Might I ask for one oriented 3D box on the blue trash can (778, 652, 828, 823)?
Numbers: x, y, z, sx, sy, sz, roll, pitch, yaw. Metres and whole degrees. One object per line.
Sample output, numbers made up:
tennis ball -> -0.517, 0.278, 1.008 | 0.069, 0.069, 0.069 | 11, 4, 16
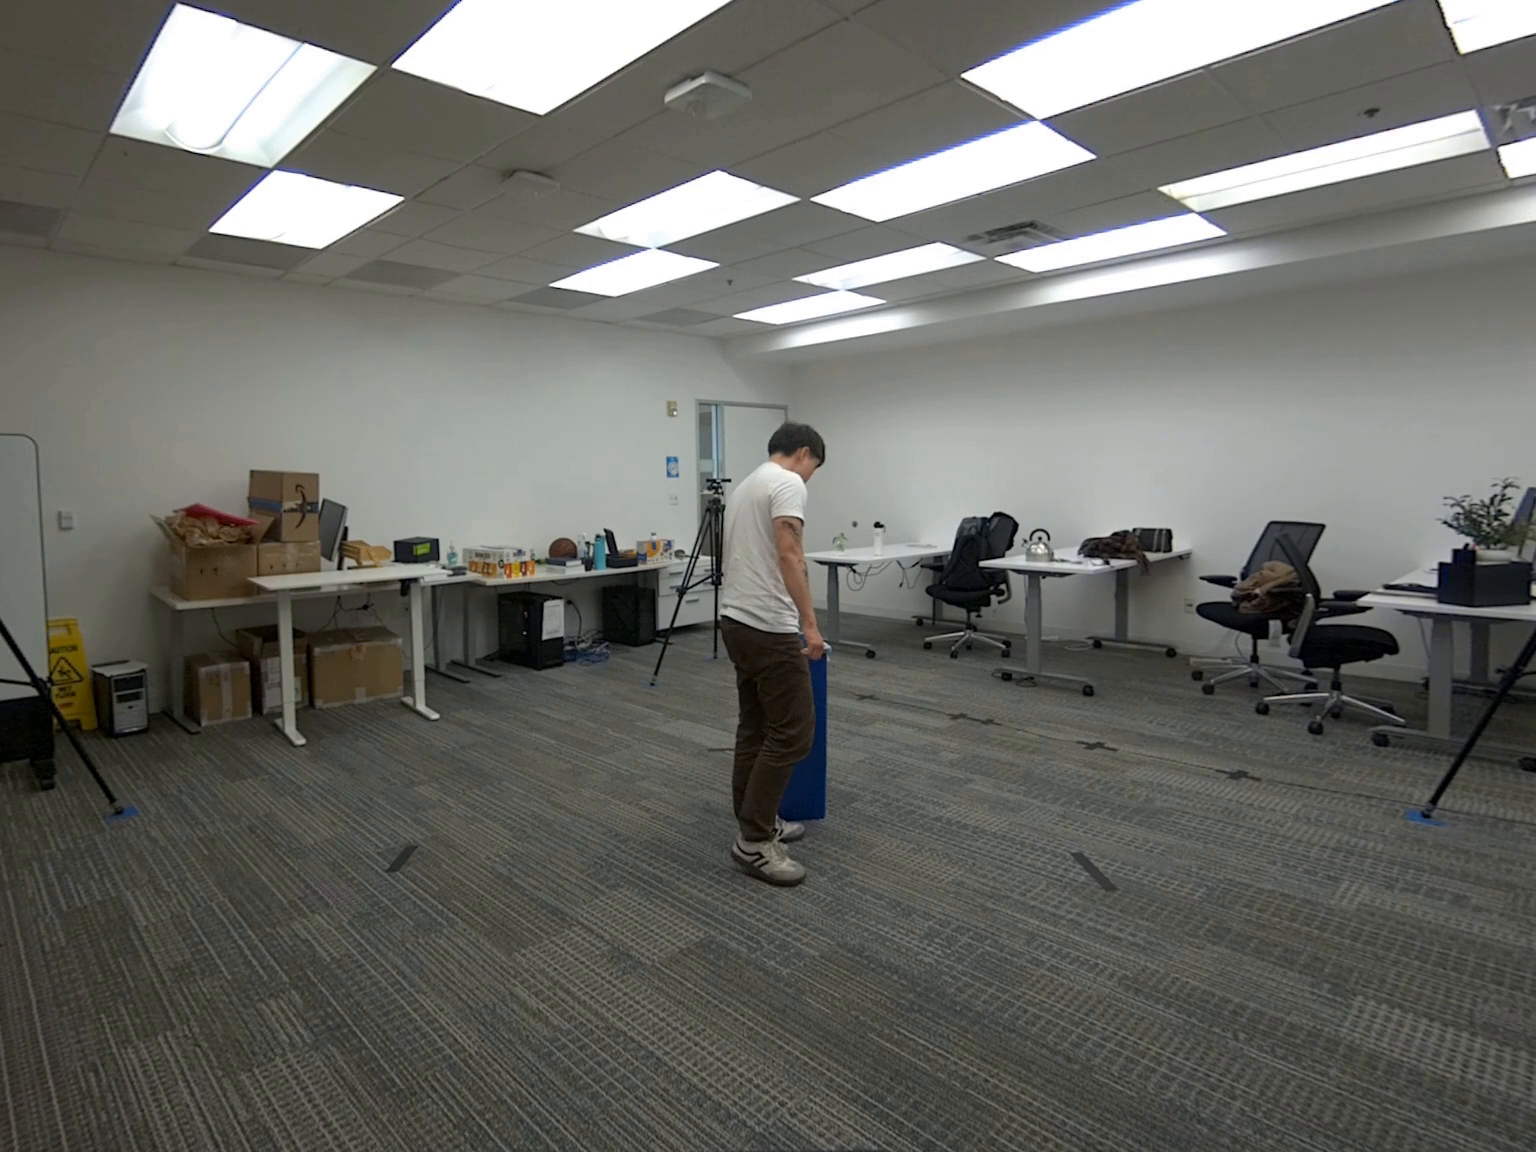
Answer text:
blue trash can -> 0.063, 0.630, 3.619 | 0.375, 0.711, 0.378 | -2, 4, -8
